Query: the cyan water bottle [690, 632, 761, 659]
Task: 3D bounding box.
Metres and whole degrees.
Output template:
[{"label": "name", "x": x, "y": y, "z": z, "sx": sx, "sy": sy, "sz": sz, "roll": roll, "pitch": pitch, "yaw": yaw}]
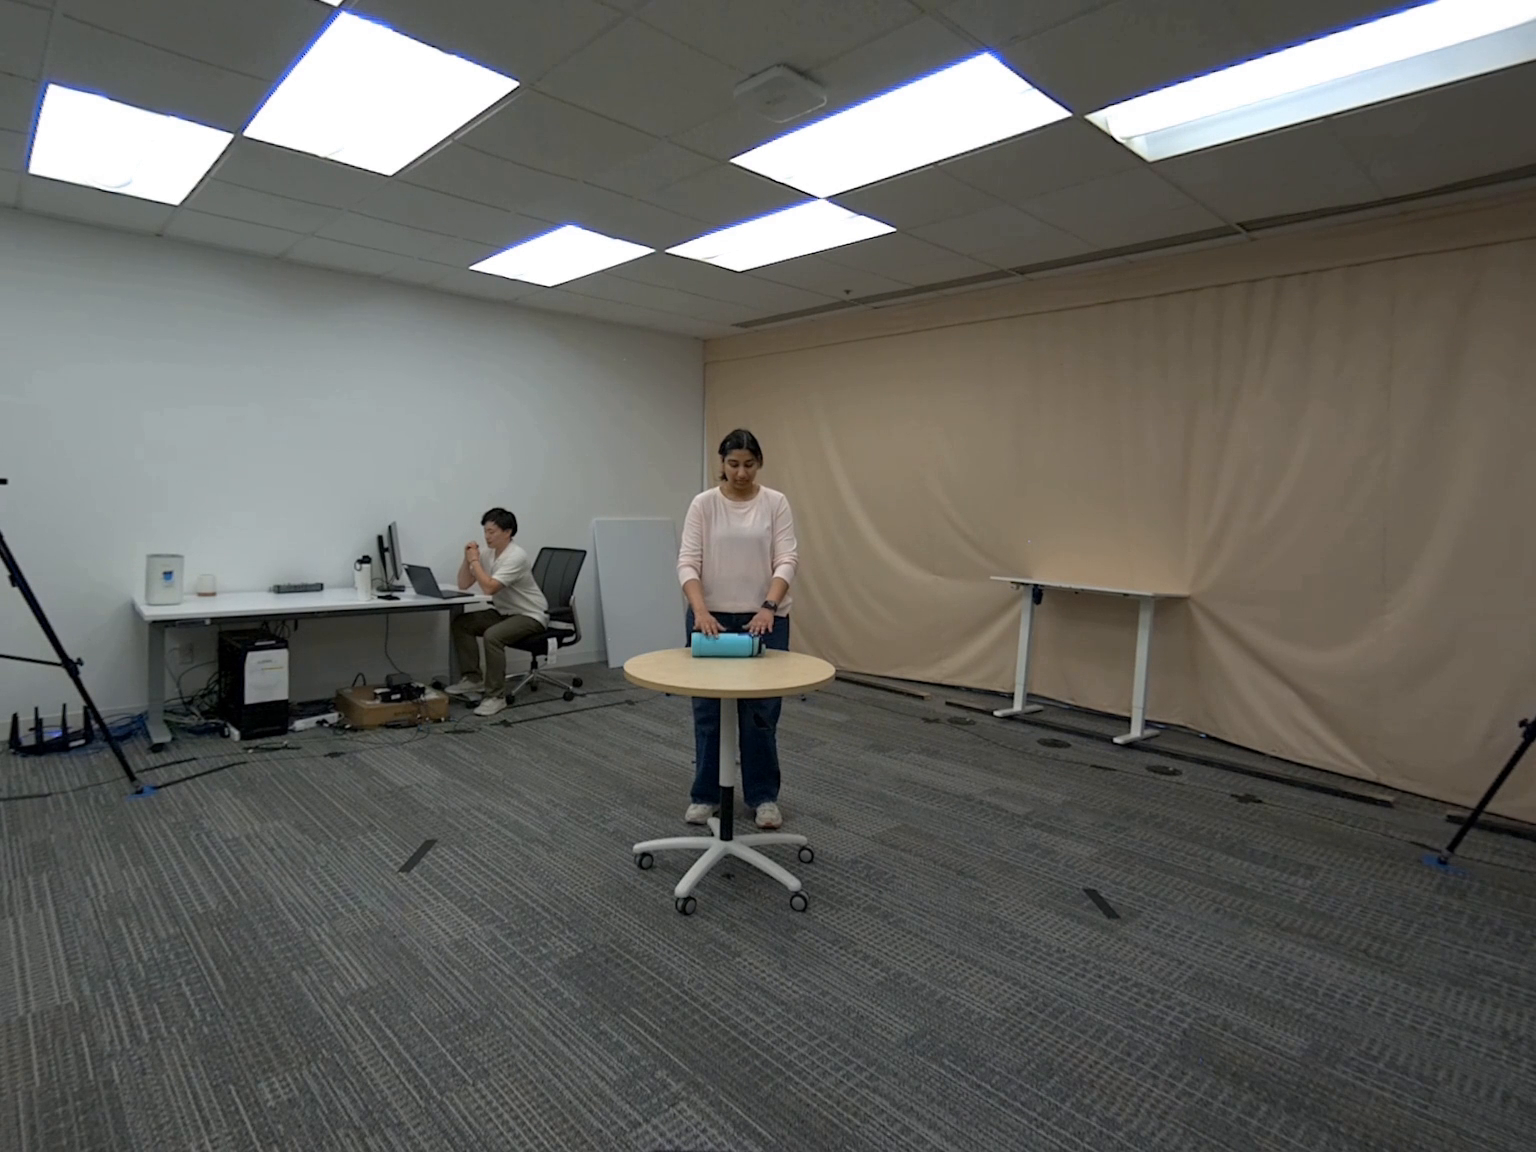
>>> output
[{"label": "cyan water bottle", "x": -0.160, "y": 0.266, "z": 3.226, "sx": 0.282, "sy": 0.092, "sz": 0.093, "roll": 0, "pitch": 4, "yaw": -5}]
